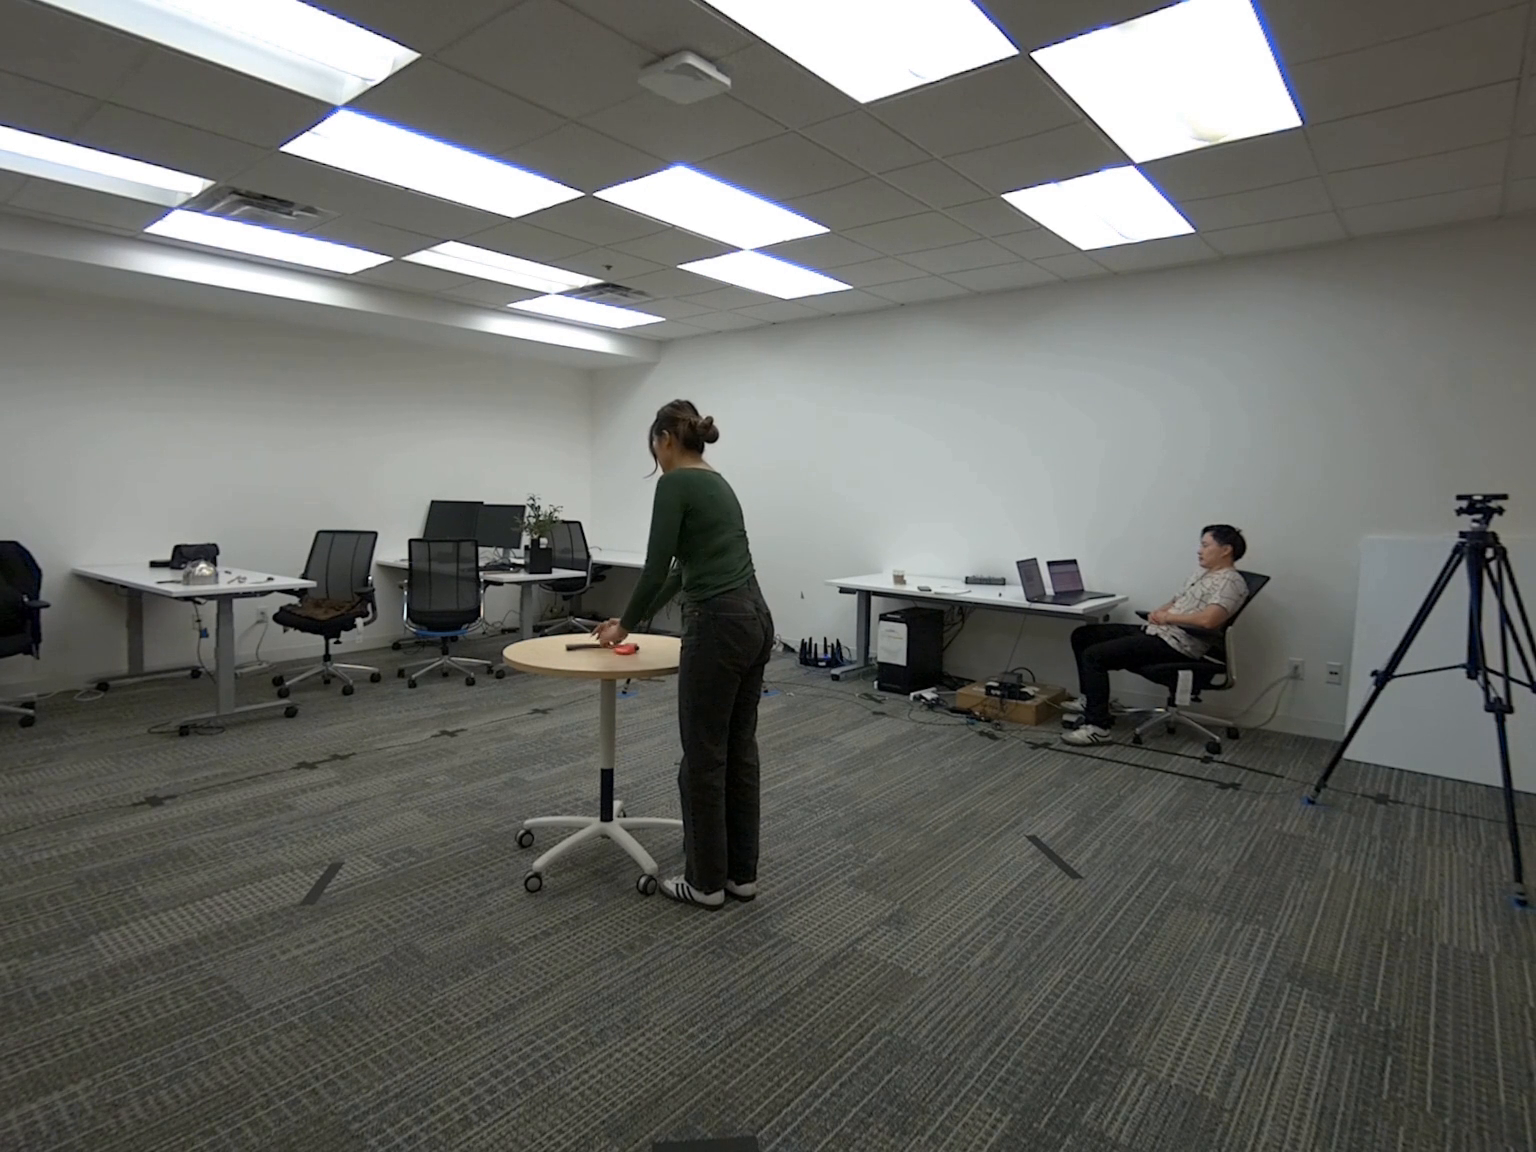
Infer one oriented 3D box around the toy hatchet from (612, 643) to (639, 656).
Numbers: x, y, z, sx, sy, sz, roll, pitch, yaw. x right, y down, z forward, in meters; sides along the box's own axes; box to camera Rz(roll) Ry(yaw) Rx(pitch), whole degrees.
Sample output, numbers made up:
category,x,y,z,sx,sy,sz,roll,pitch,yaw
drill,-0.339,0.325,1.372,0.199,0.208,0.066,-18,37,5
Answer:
category,x,y,z,sx,sy,sz,roll,pitch,yaw
toy hatchet,-0.629,0.265,3.116,0.268,0.029,0.133,-1,9,-8
